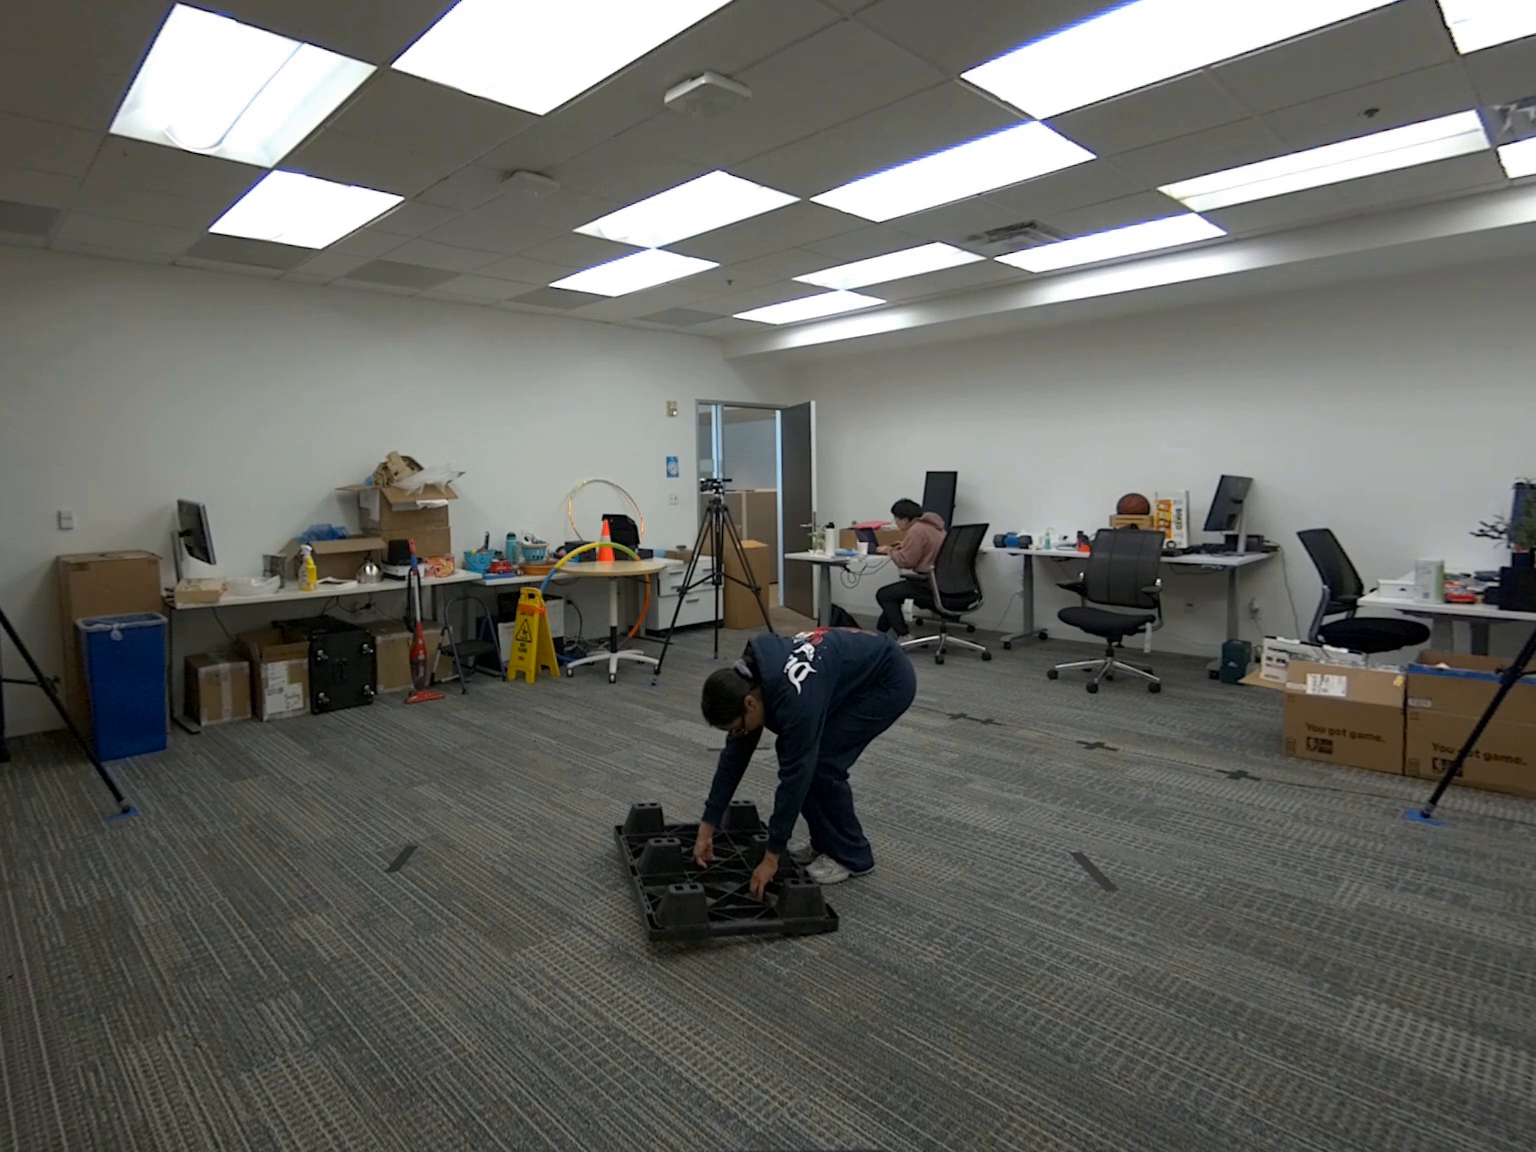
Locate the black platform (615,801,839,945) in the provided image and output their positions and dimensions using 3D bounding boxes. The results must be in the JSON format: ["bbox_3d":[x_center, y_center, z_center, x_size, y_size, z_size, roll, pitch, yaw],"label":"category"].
[{"bbox_3d":[-0.172,0.970,2.932,0.595,0.143,0.822,3,5,-18],"label":"black platform"}]
